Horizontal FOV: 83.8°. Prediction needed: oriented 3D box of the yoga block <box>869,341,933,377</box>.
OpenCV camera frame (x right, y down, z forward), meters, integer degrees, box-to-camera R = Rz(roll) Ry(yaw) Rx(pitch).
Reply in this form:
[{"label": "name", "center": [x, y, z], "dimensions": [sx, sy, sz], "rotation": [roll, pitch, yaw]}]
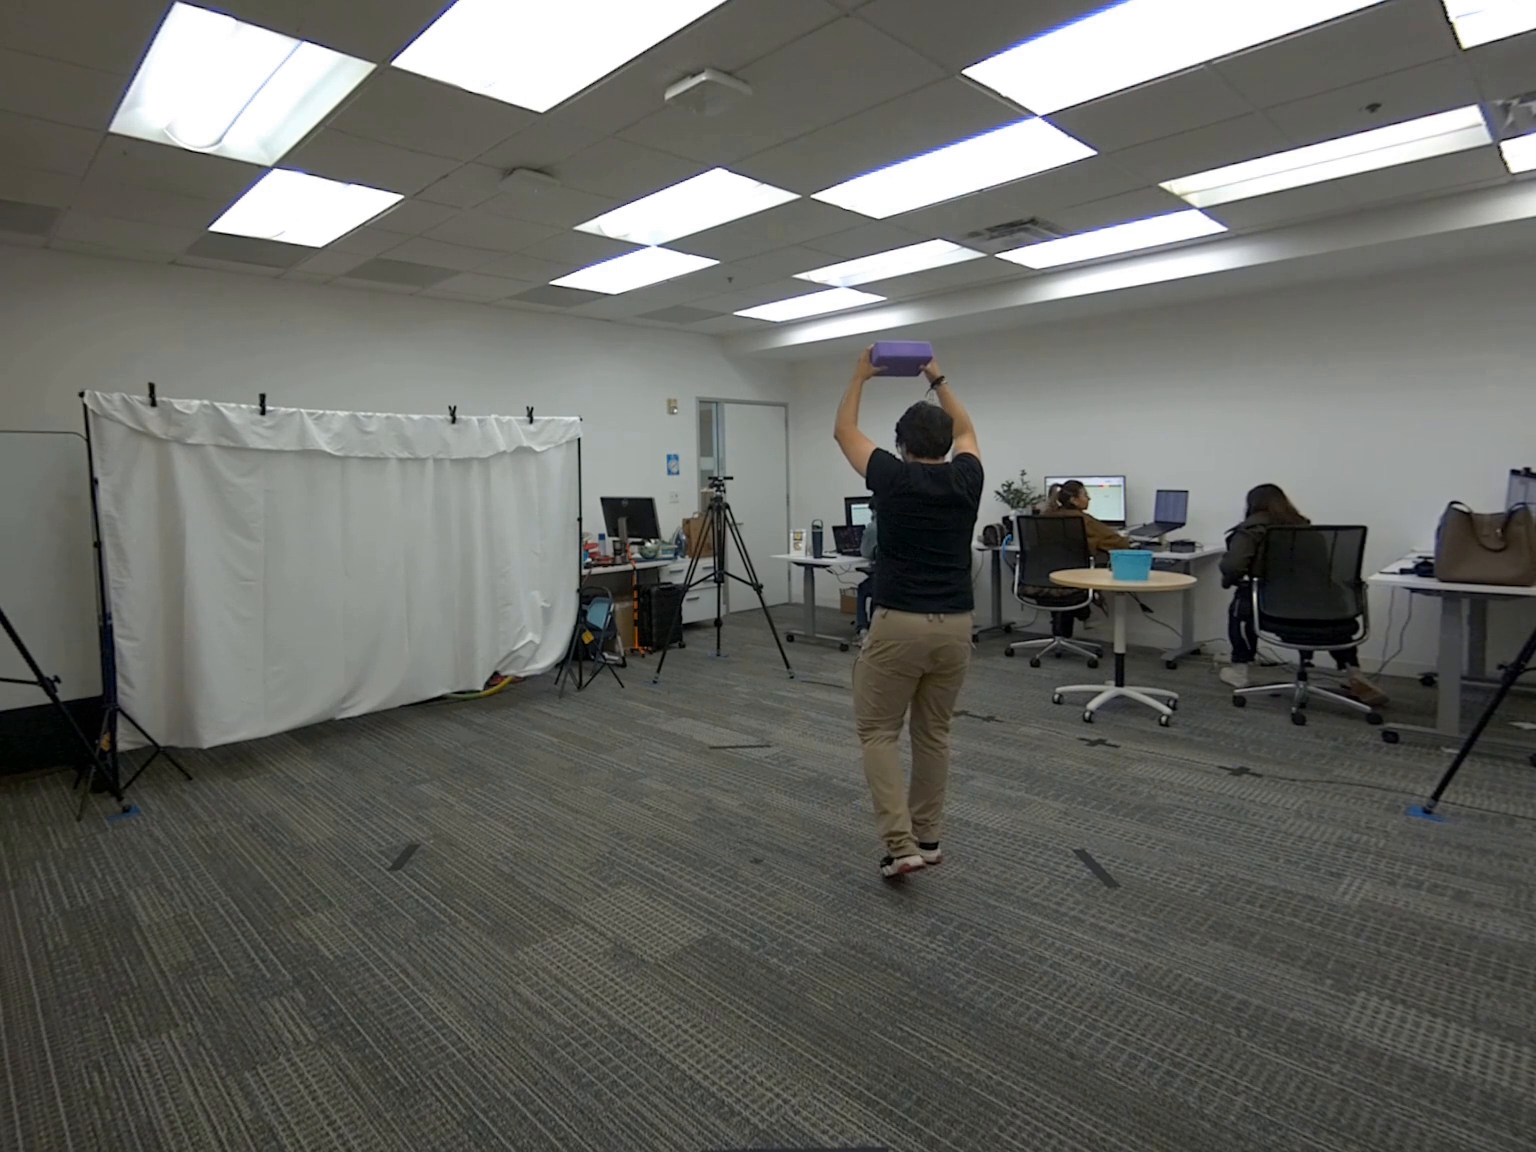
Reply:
[{"label": "yoga block", "center": [0.506, -0.835, 3.282], "dimensions": [0.227, 0.078, 0.147], "rotation": [-2, -18, -9]}]
